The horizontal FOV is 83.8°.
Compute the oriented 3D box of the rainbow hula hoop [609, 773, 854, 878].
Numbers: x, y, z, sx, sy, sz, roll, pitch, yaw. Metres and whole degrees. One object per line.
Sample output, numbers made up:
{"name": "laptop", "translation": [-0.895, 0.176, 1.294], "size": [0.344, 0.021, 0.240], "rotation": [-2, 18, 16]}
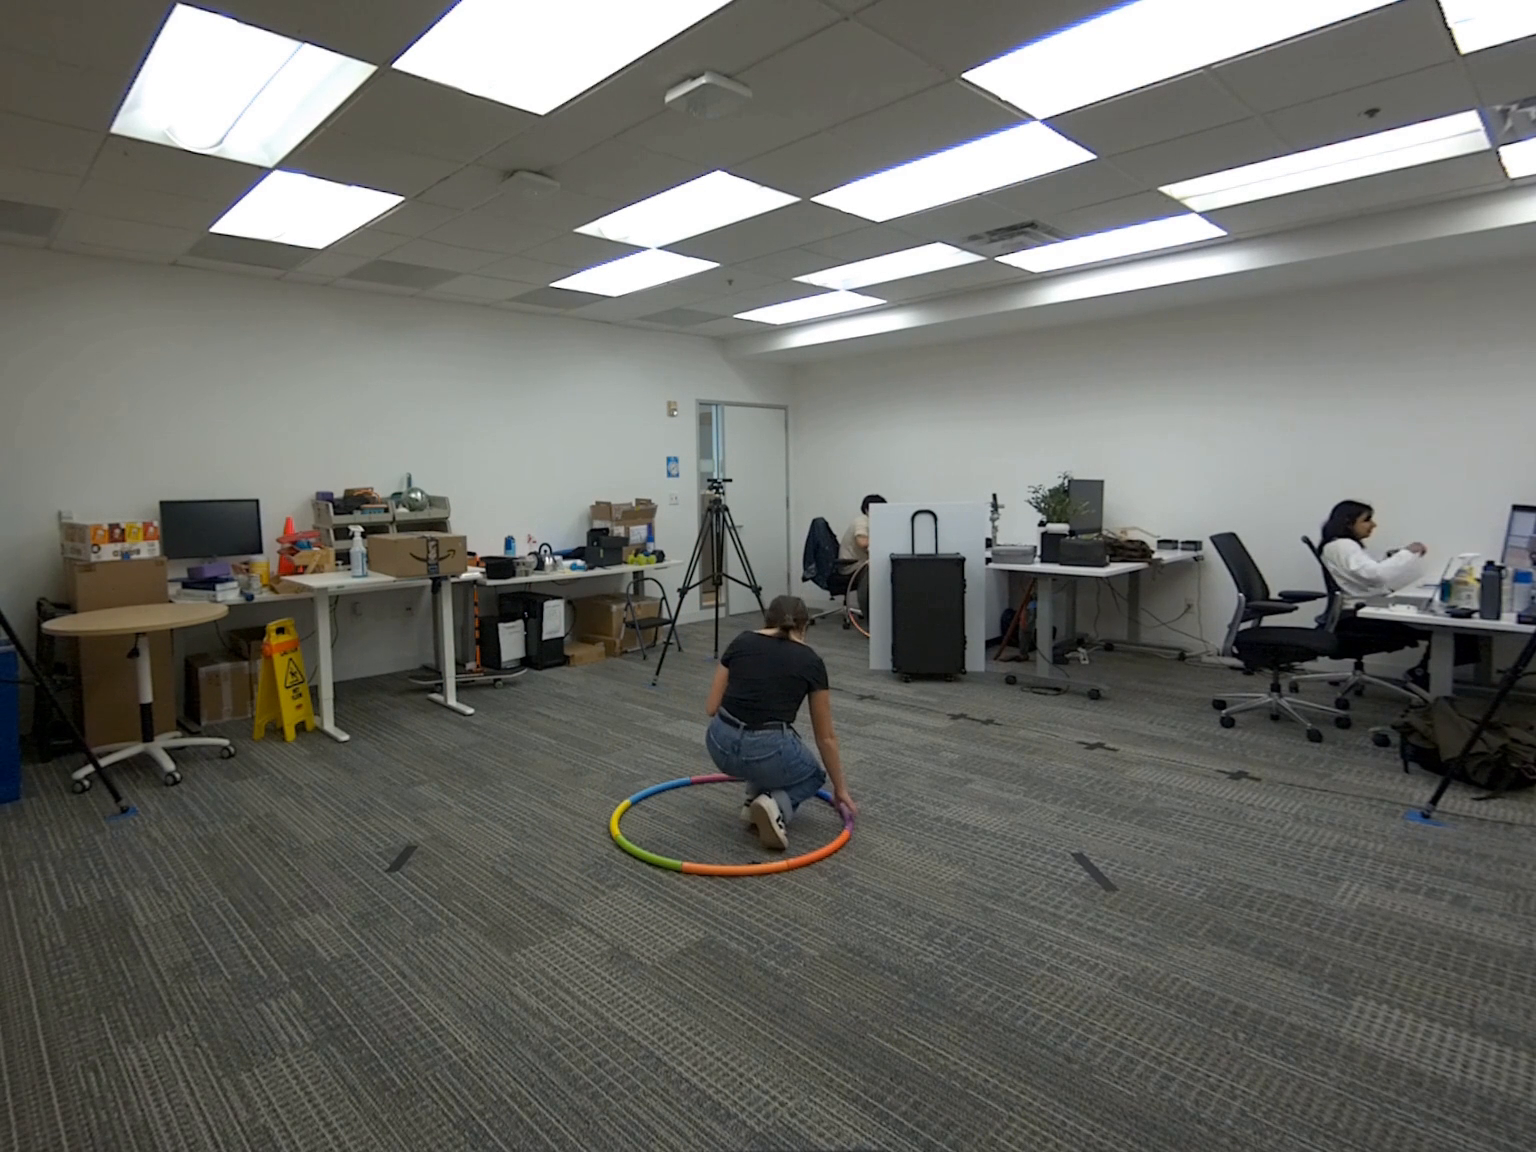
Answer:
{"name": "rainbow hula hoop", "translation": [-0.150, 0.971, 3.489], "size": [0.978, 0.035, 0.984], "rotation": [-2, 7, -2]}
